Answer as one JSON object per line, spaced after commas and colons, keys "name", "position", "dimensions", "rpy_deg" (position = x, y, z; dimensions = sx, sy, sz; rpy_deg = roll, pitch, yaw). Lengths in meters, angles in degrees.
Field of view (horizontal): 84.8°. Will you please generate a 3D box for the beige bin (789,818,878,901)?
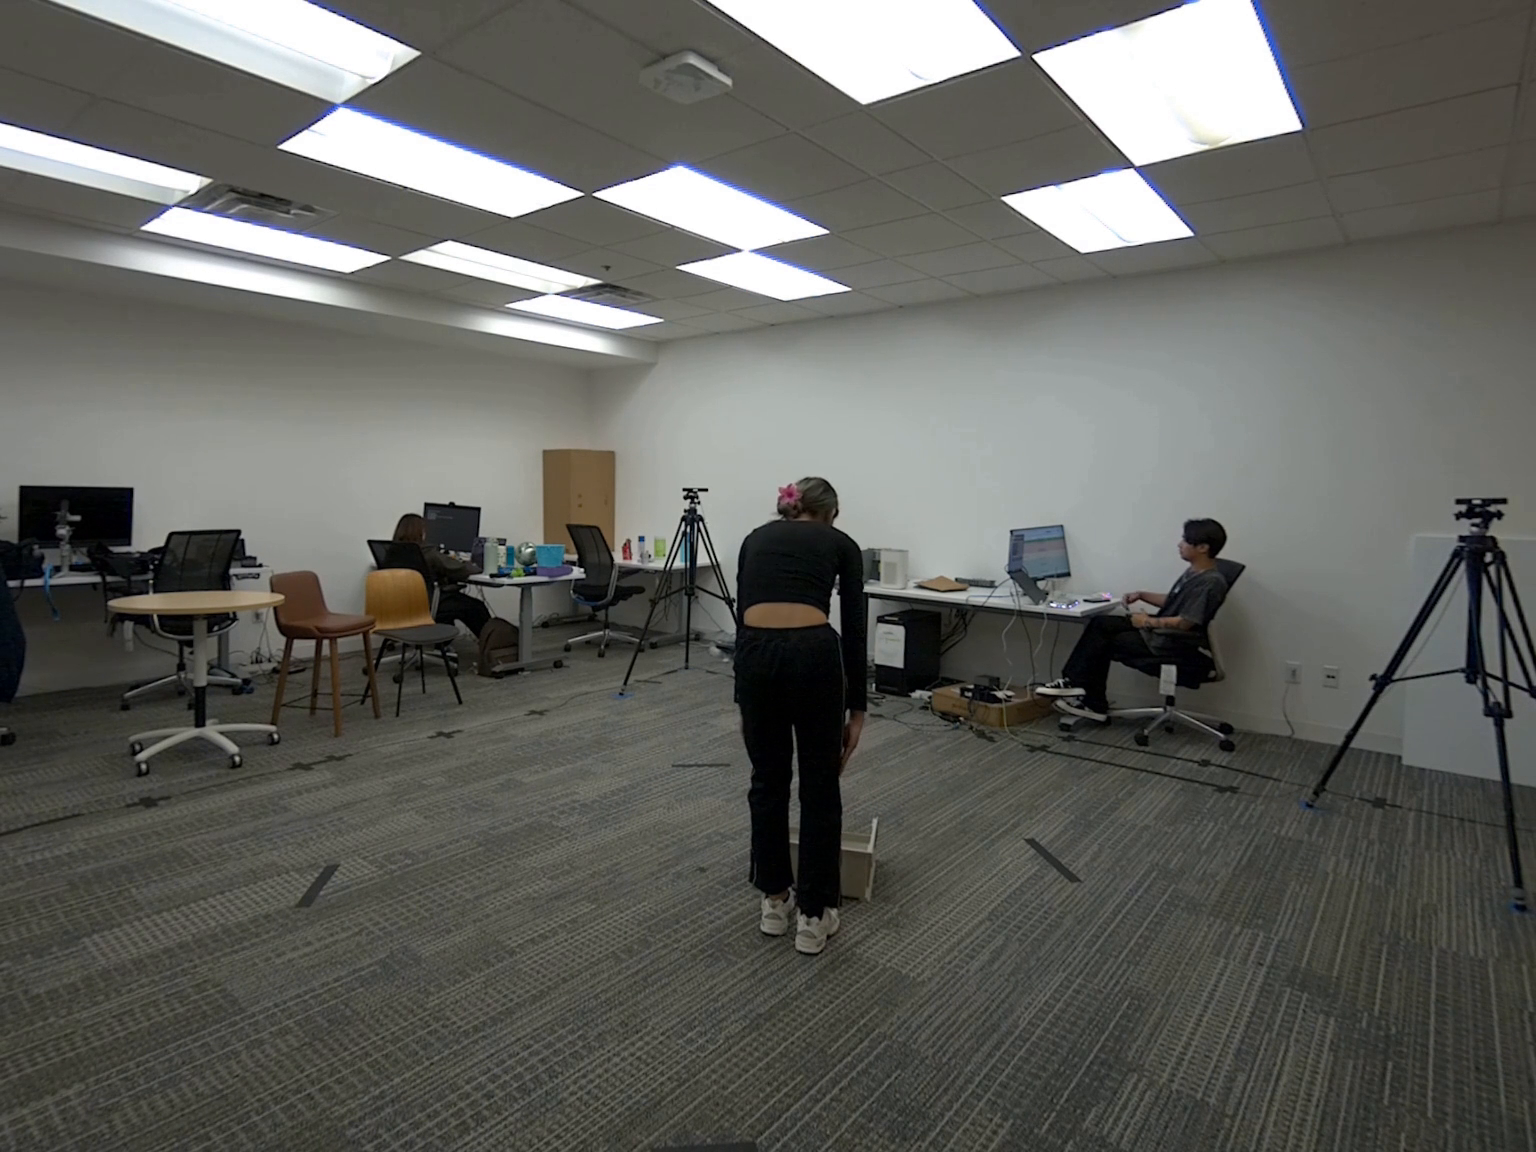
{"name": "beige bin", "position": [0.171, 0.989, 3.101], "dimensions": [0.429, 0.188, 0.374], "rpy_deg": [3, 6, 12]}
